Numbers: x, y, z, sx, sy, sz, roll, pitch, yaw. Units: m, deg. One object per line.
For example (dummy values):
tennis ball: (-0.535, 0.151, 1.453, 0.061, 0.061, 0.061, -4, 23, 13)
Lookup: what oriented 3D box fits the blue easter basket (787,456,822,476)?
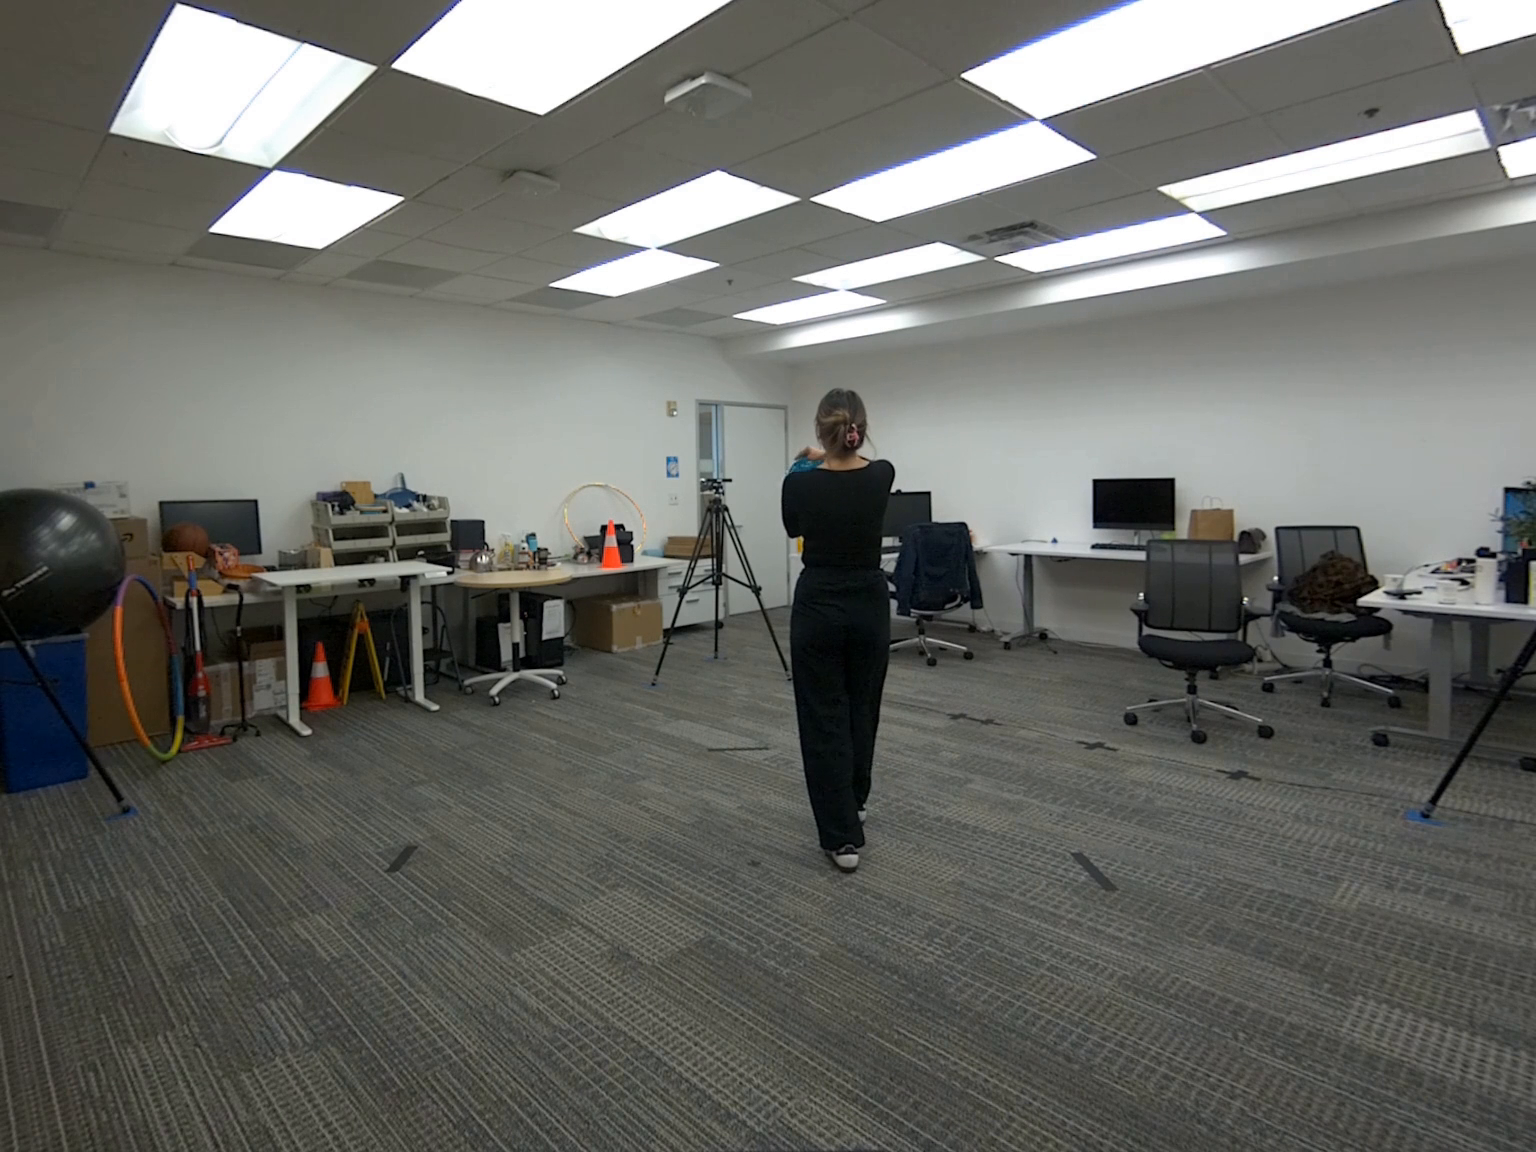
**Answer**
blue easter basket: (0.182, -0.388, 3.728, 0.241, 0.246, 0.156, -2, -11, -13)
